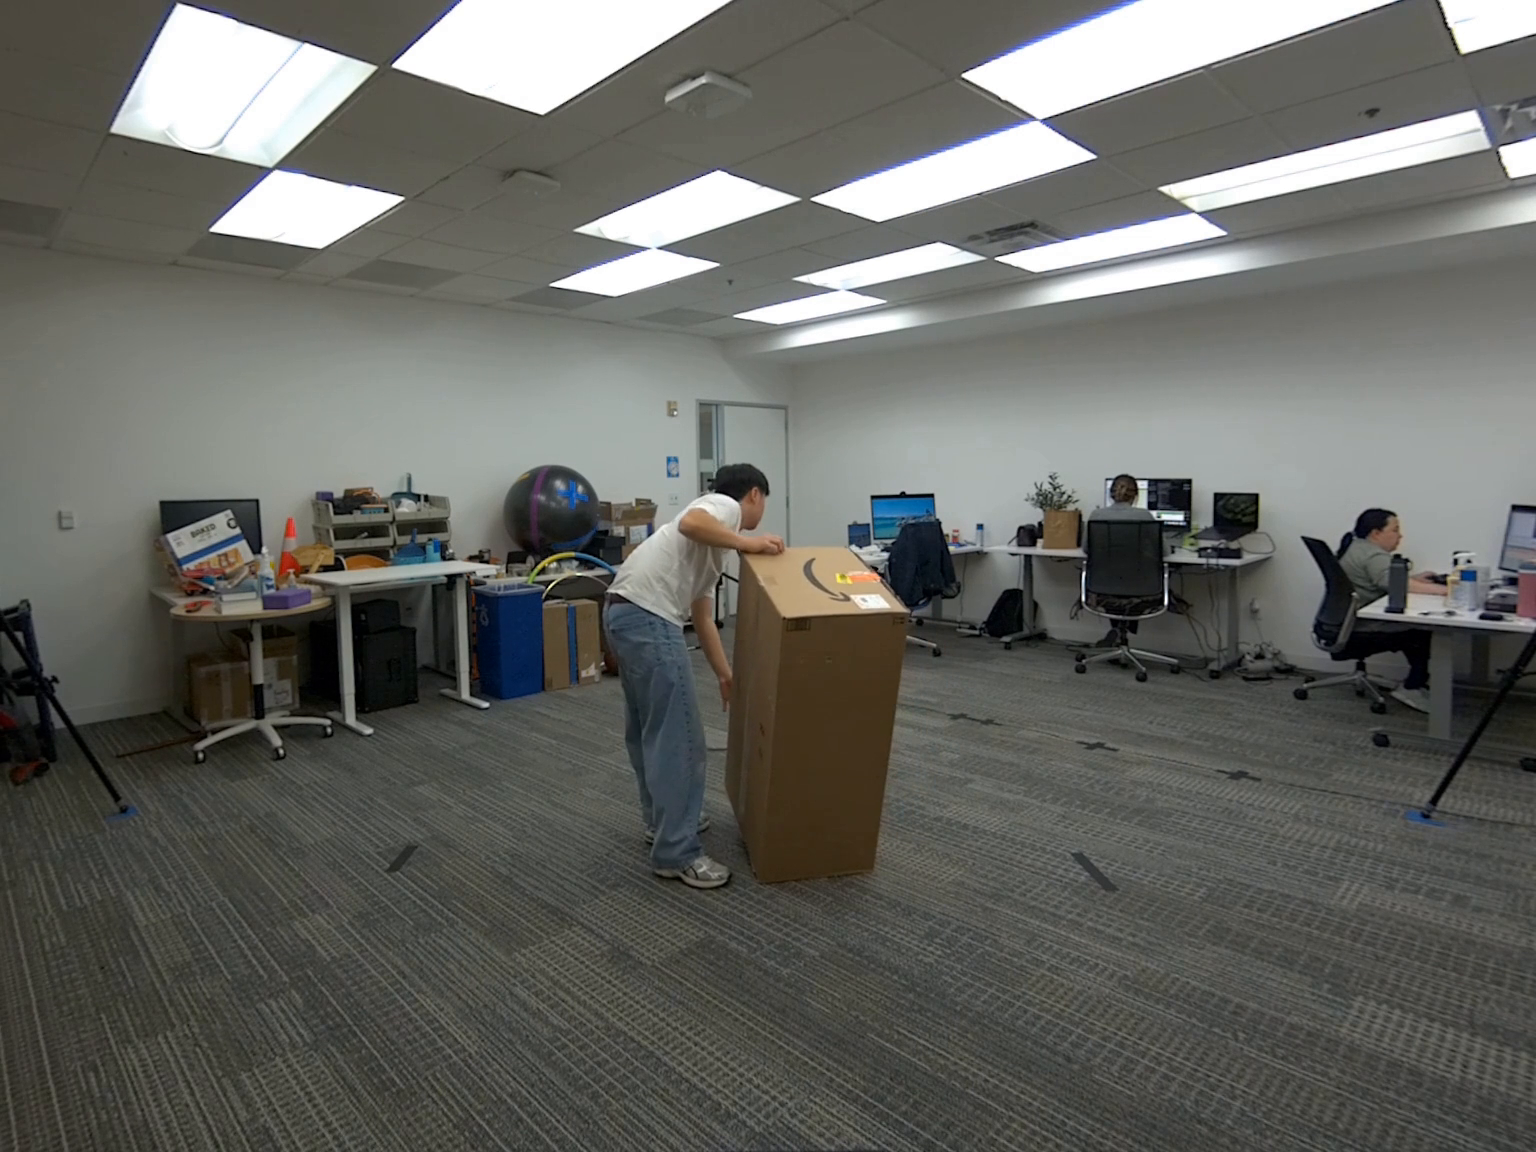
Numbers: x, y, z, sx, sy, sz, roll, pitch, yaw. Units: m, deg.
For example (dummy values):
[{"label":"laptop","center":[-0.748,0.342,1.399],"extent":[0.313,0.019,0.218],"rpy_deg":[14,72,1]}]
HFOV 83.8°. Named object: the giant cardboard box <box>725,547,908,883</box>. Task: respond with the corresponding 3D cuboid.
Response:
[{"label":"giant cardboard box","center":[0.137,0.481,3.079],"extent":[0.420,1.009,0.595],"rpy_deg":[-2,21,-16]}]
